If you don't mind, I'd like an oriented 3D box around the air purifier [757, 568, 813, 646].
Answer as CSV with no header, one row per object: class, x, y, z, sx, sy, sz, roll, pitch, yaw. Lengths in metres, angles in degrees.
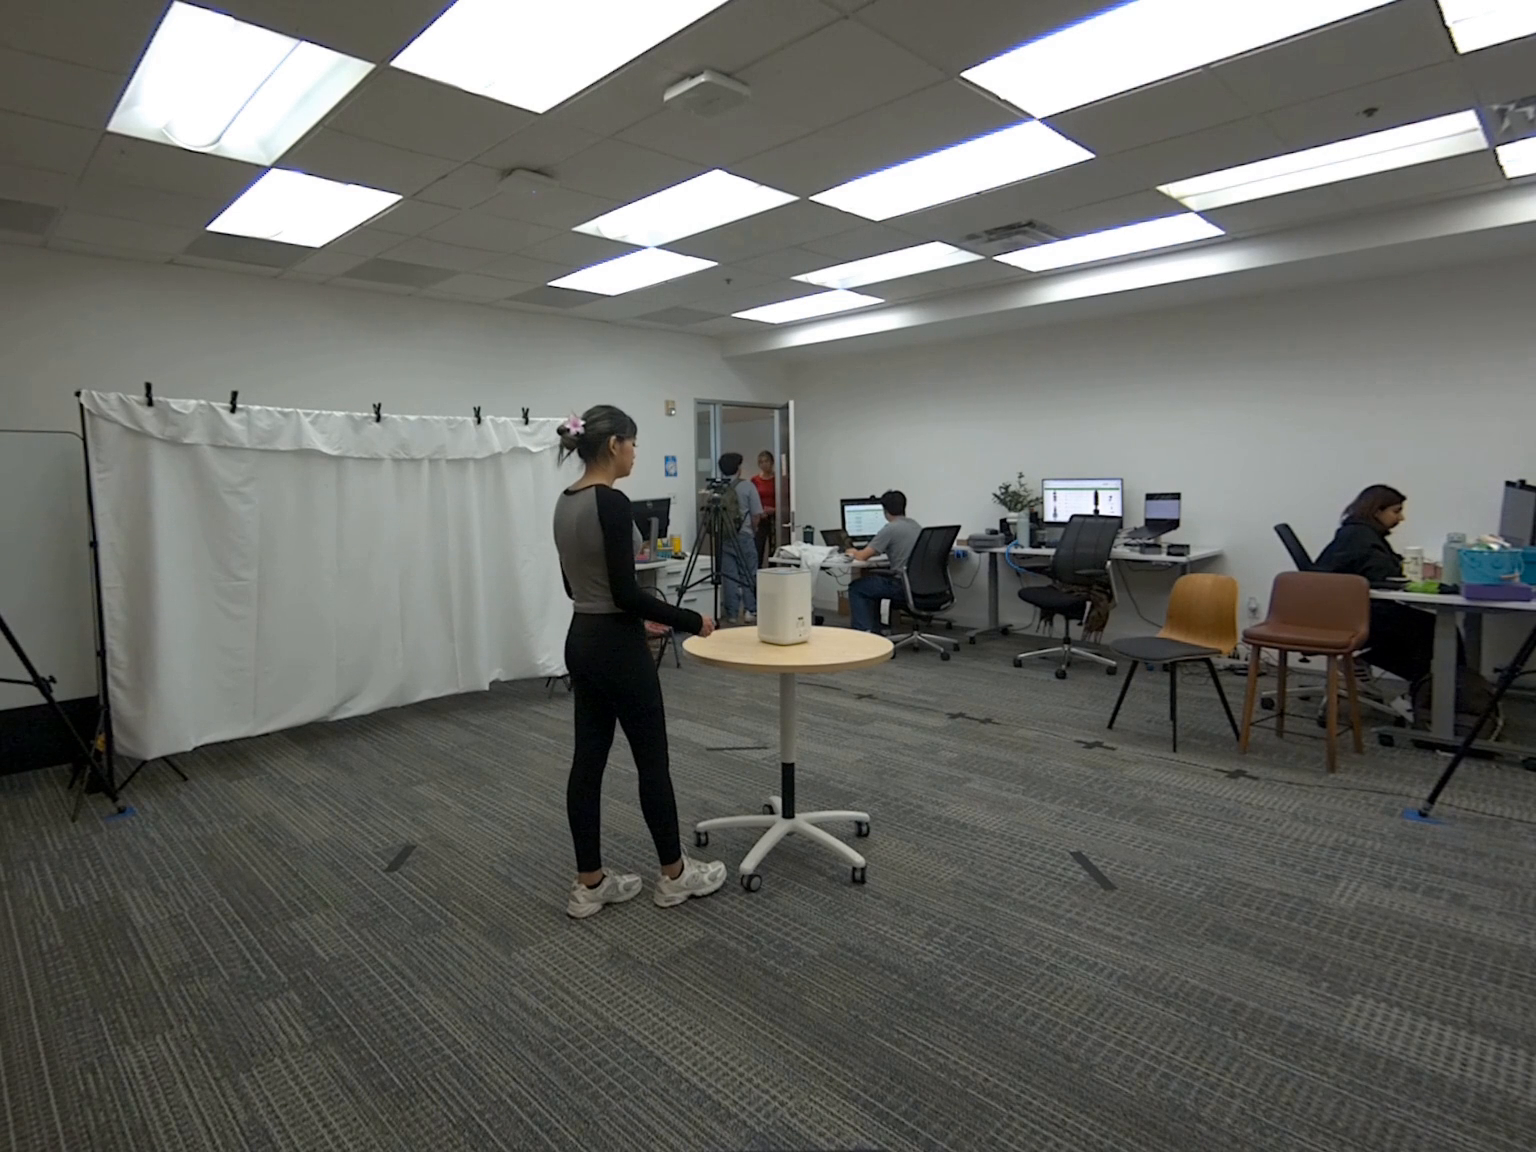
air purifier,0.061,0.106,3.147,0.166,0.264,0.177,-5,7,-43
